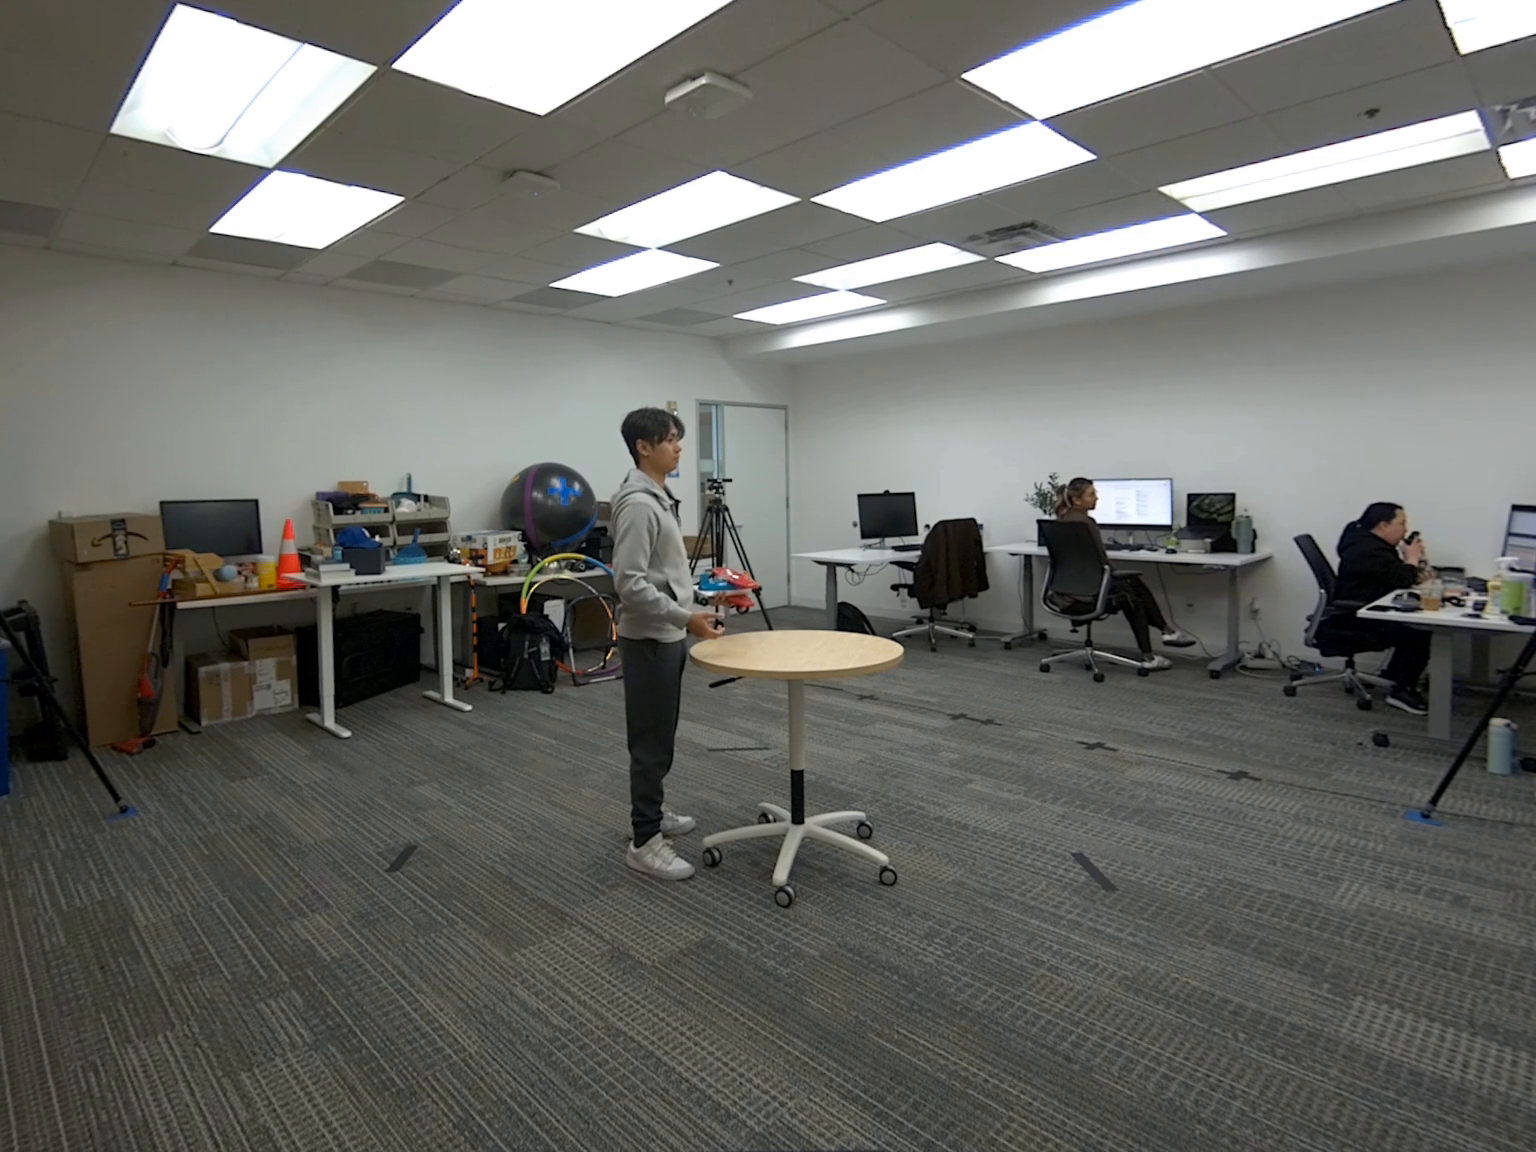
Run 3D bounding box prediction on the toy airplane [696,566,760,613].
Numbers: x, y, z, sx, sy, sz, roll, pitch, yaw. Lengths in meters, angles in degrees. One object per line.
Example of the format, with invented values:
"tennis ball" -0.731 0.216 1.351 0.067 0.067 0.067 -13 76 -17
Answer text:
"toy airplane" -0.153 0.052 3.436 0.258 0.156 0.253 20 7 23
